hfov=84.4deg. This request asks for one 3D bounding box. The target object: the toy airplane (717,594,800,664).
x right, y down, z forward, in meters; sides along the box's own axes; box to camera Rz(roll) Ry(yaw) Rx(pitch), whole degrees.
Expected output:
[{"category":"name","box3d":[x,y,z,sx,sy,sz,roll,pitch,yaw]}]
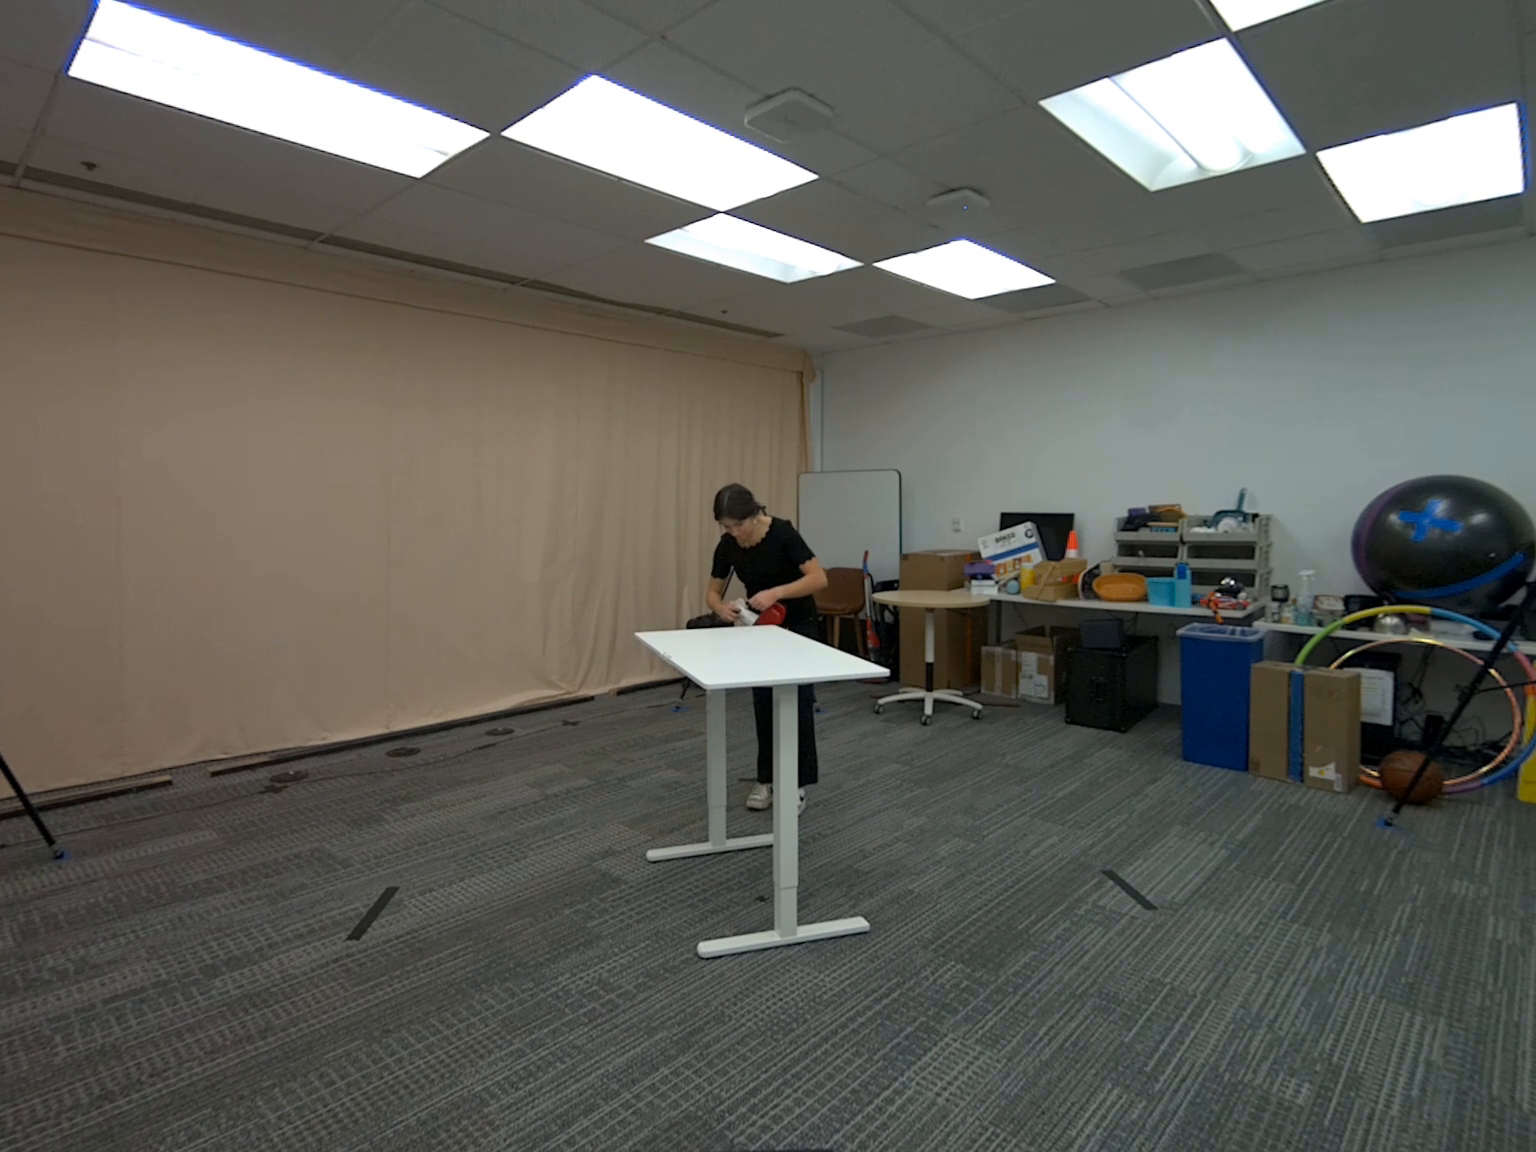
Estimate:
[{"category":"toy airplane","box3d":[-0.049,0.205,3.734,0.255,0.261,0.152,-27,-8,32]}]
